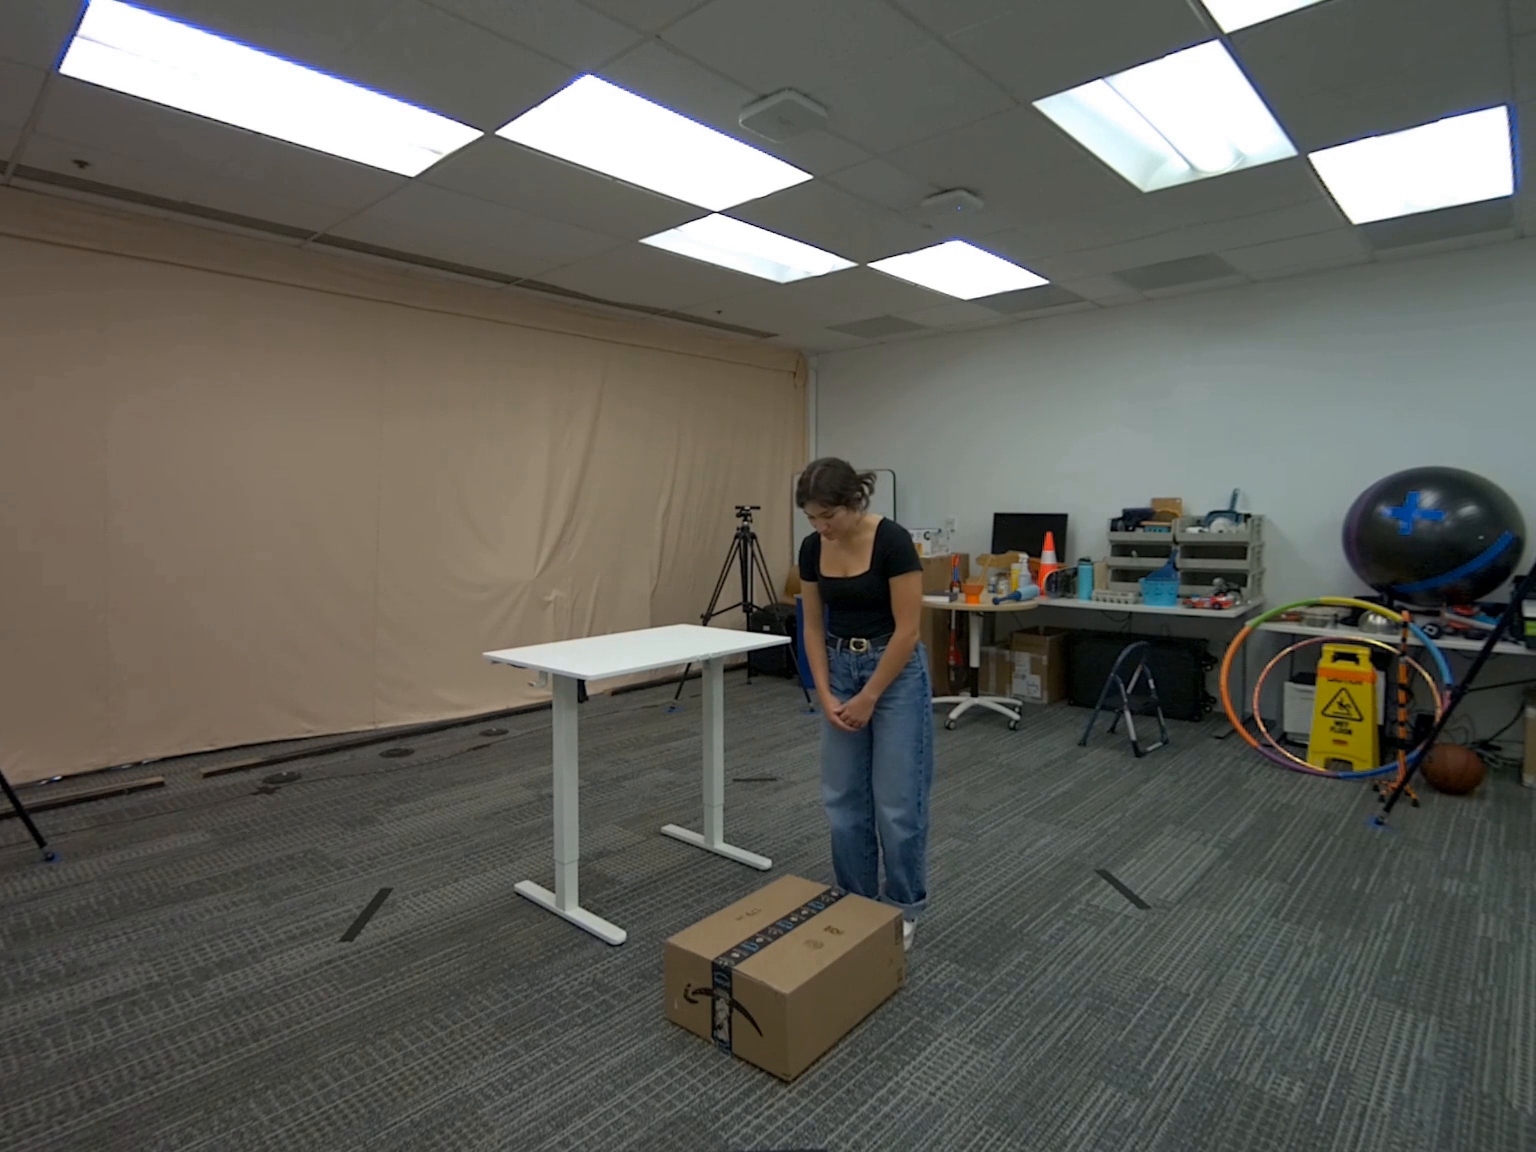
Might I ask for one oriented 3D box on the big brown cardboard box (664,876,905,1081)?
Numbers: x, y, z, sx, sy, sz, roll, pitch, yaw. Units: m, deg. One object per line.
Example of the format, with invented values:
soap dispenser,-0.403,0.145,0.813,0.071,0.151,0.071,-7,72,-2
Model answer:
big brown cardboard box,0.056,1.086,2.351,0.431,0.232,0.571,2,5,40
